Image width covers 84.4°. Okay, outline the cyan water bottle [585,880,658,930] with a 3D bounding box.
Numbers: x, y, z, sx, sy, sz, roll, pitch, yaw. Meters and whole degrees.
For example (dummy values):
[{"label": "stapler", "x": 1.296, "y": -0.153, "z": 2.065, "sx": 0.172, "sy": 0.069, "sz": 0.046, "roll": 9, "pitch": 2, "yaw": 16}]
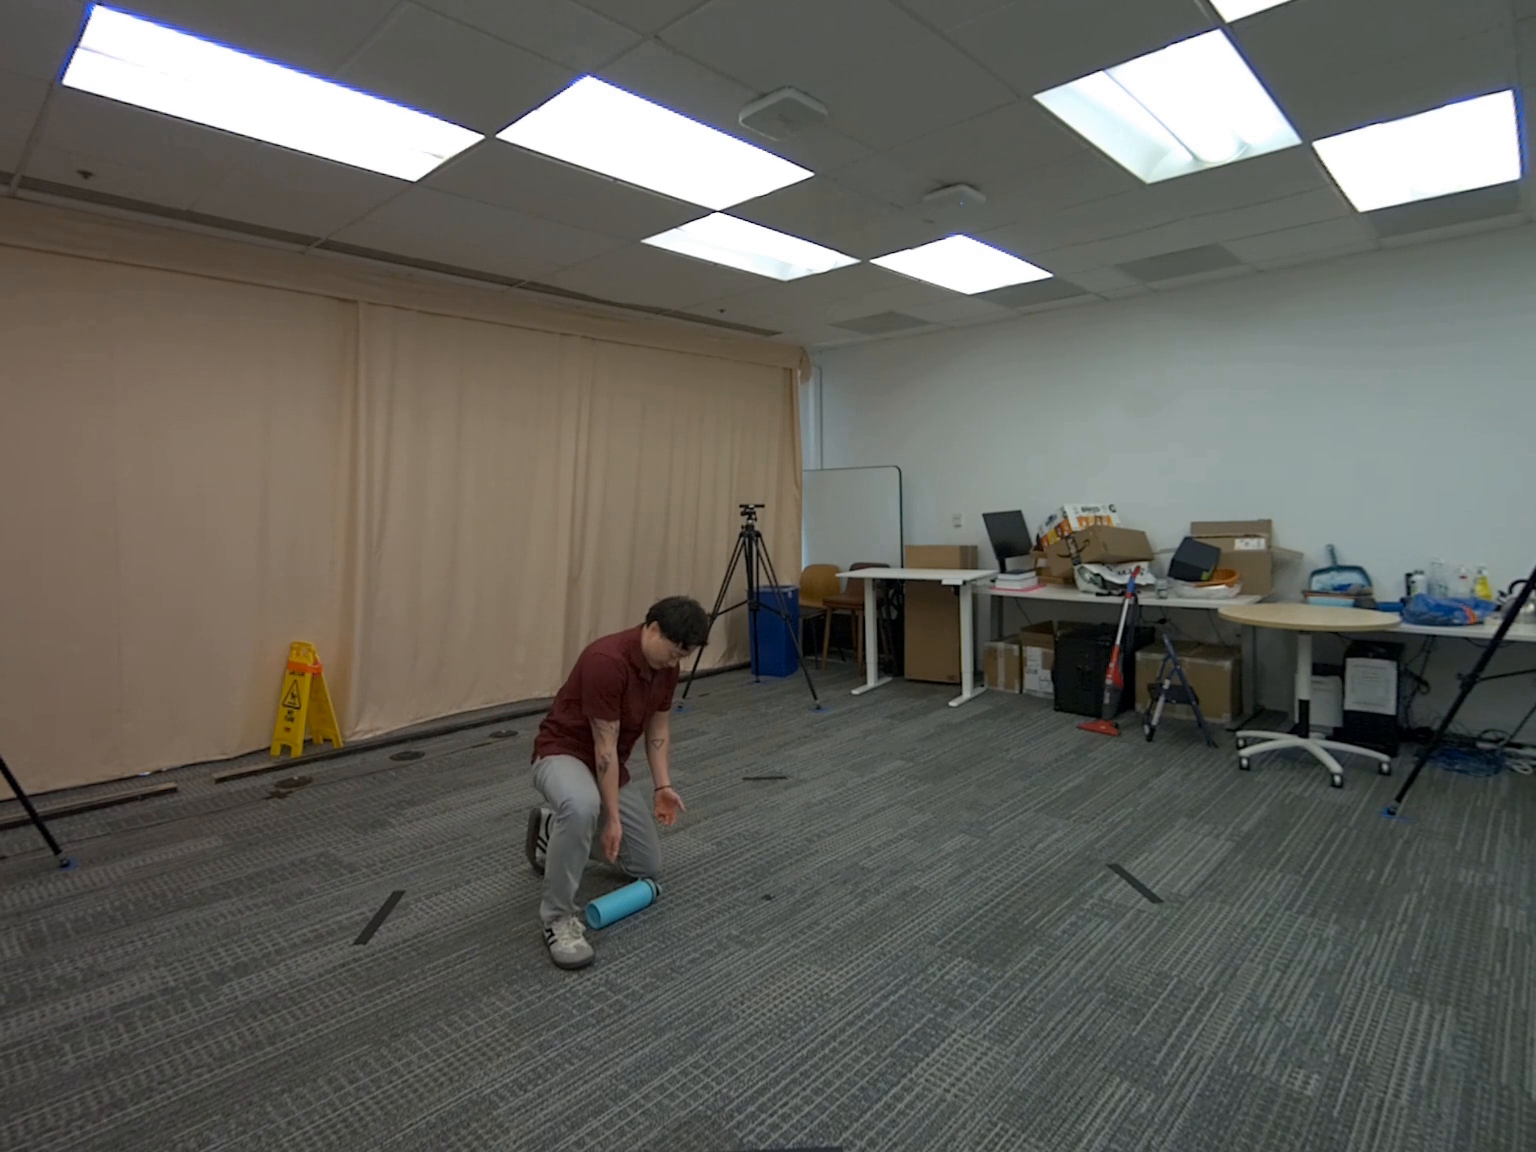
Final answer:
[{"label": "cyan water bottle", "x": -0.488, "y": 1.112, "z": 2.882, "sx": 0.095, "sy": 0.092, "sz": 0.275, "roll": 3, "pitch": 6, "yaw": 41}]
